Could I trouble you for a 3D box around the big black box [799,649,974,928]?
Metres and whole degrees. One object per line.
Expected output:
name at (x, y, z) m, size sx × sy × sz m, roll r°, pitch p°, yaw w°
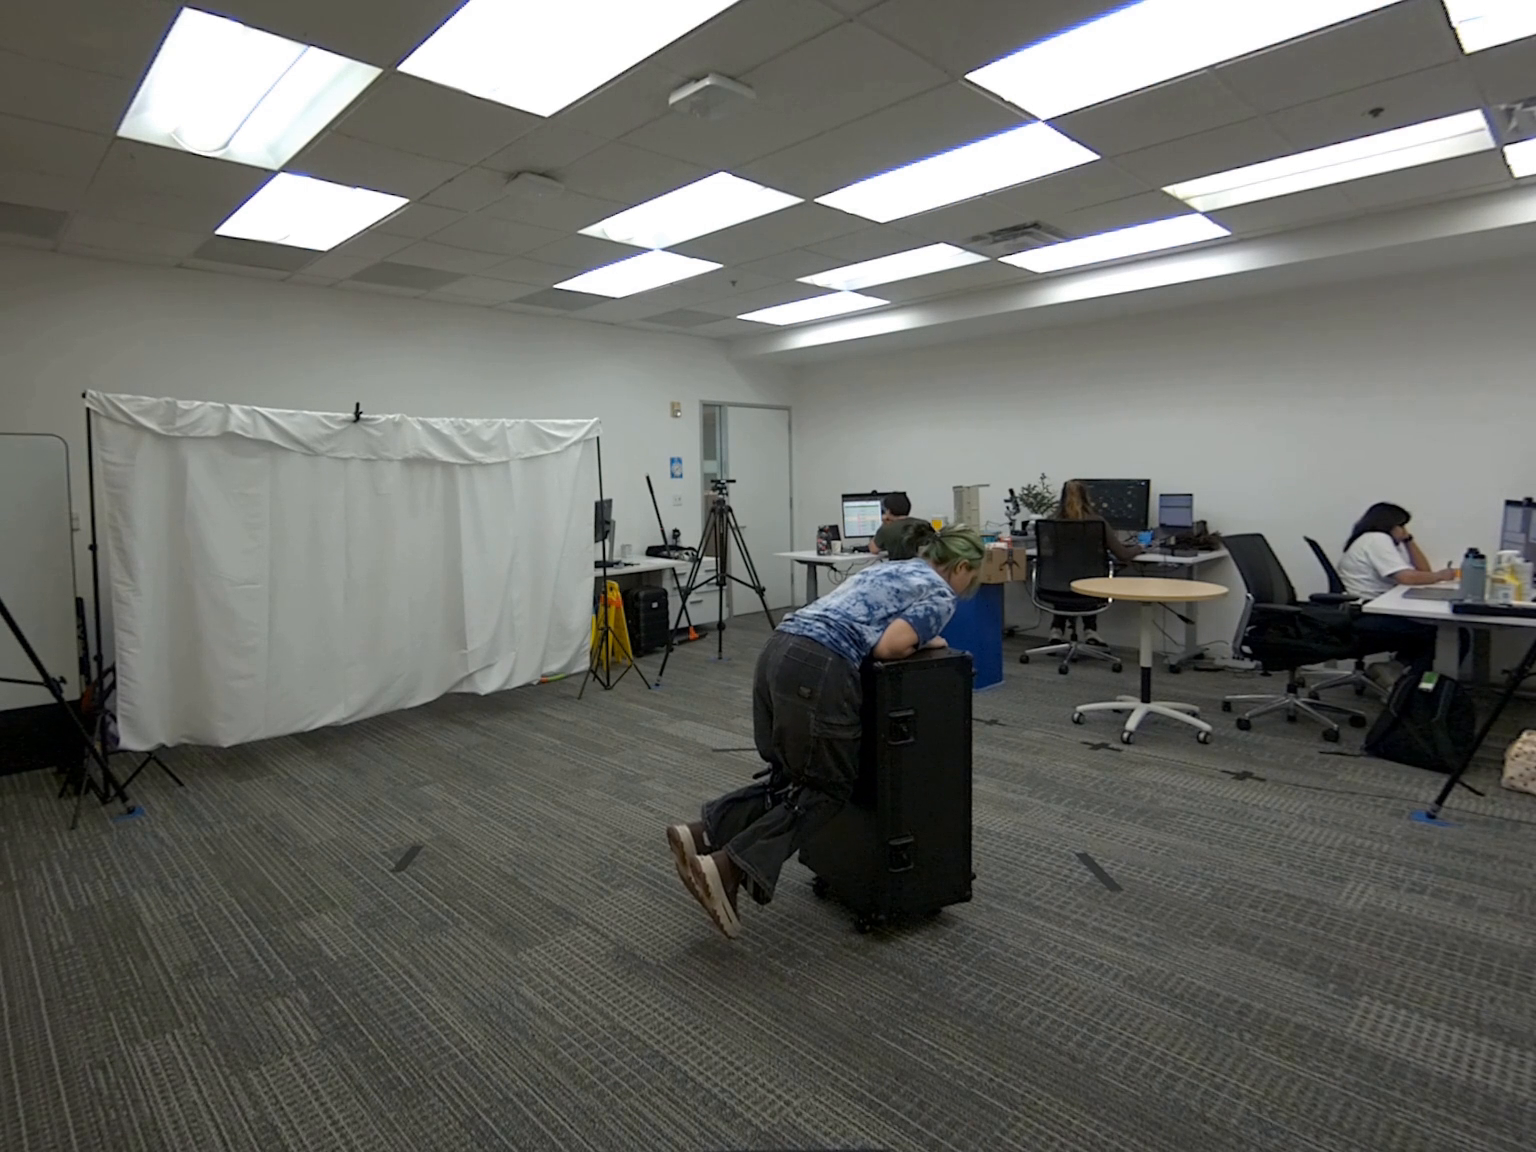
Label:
big black box at (0.383, 0.597, 2.794) m, size 0.388 × 0.858 × 0.535 m, roll -2°, pitch 5°, yaw -26°
